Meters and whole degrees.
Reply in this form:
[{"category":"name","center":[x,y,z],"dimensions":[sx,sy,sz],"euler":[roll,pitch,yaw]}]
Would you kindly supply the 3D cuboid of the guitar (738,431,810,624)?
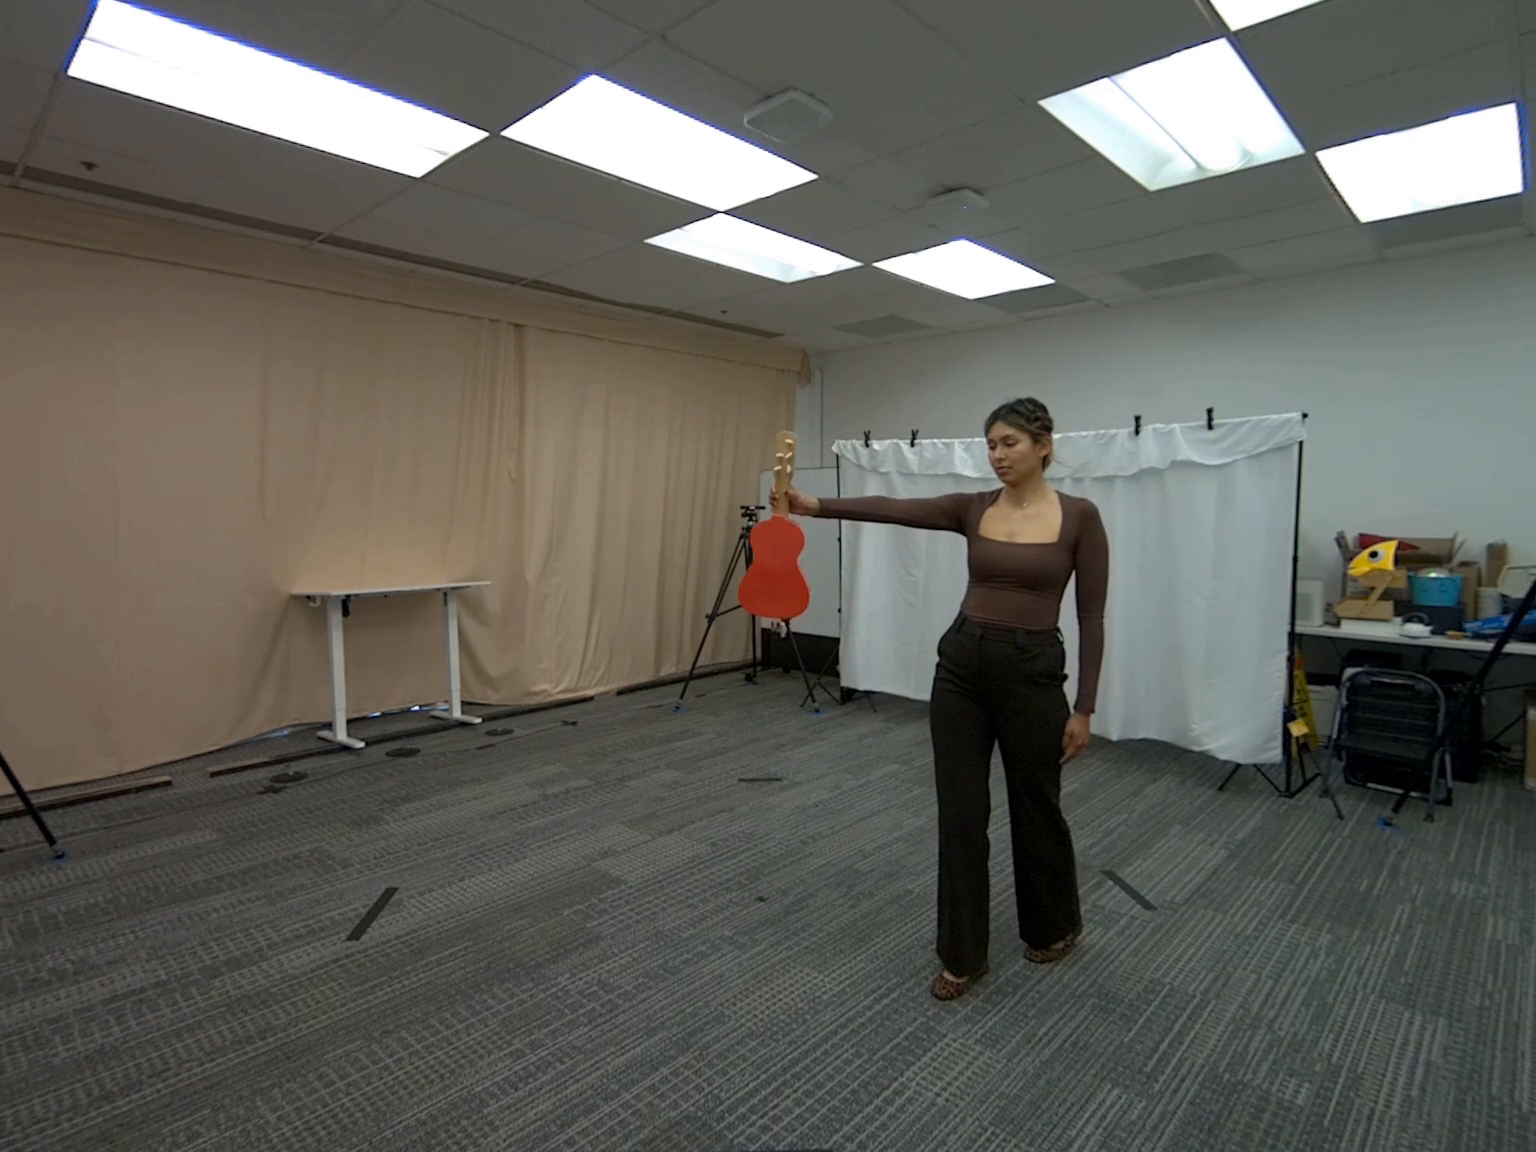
[{"category":"guitar","center":[0.018,-0.131,2.279],"dimensions":[0.195,0.496,0.070],"euler":[-6,5,10]}]
